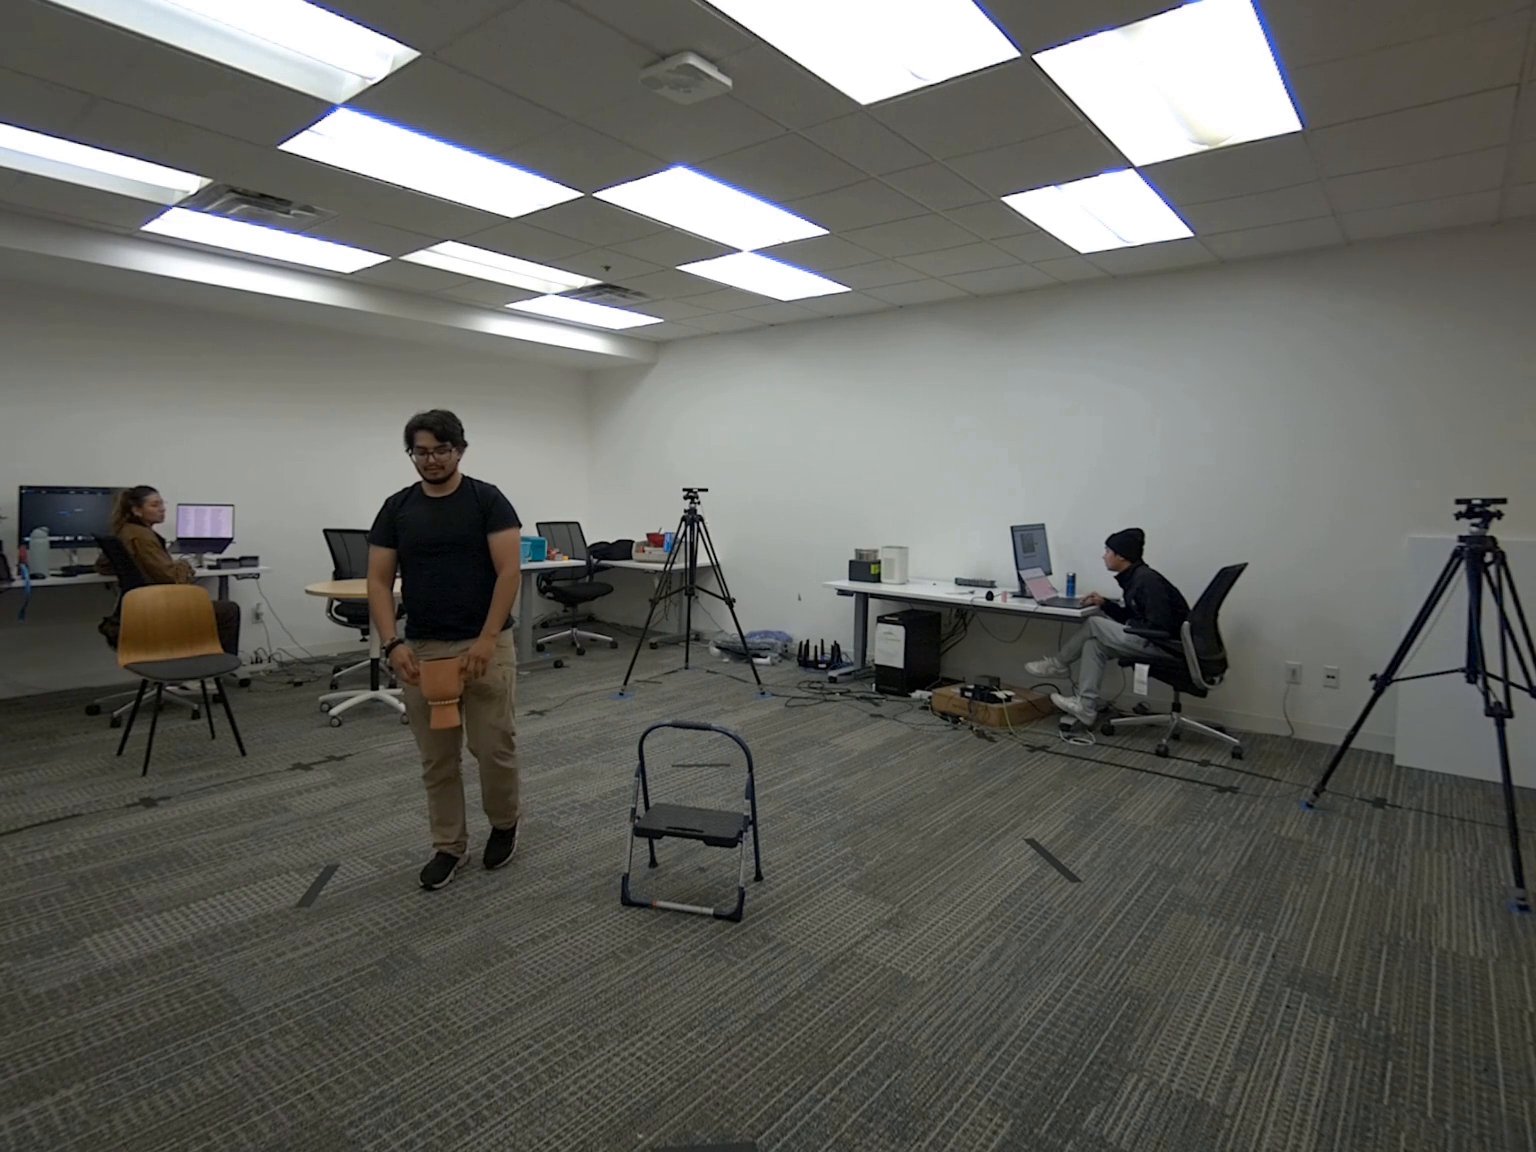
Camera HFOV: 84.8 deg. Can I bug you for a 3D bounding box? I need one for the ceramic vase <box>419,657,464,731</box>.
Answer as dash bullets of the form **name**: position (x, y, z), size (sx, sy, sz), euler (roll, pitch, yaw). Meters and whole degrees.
- **ceramic vase**: position (-1.094, 0.381, 2.779), size (0.163, 0.220, 0.131), euler (-4, 0, 31)
